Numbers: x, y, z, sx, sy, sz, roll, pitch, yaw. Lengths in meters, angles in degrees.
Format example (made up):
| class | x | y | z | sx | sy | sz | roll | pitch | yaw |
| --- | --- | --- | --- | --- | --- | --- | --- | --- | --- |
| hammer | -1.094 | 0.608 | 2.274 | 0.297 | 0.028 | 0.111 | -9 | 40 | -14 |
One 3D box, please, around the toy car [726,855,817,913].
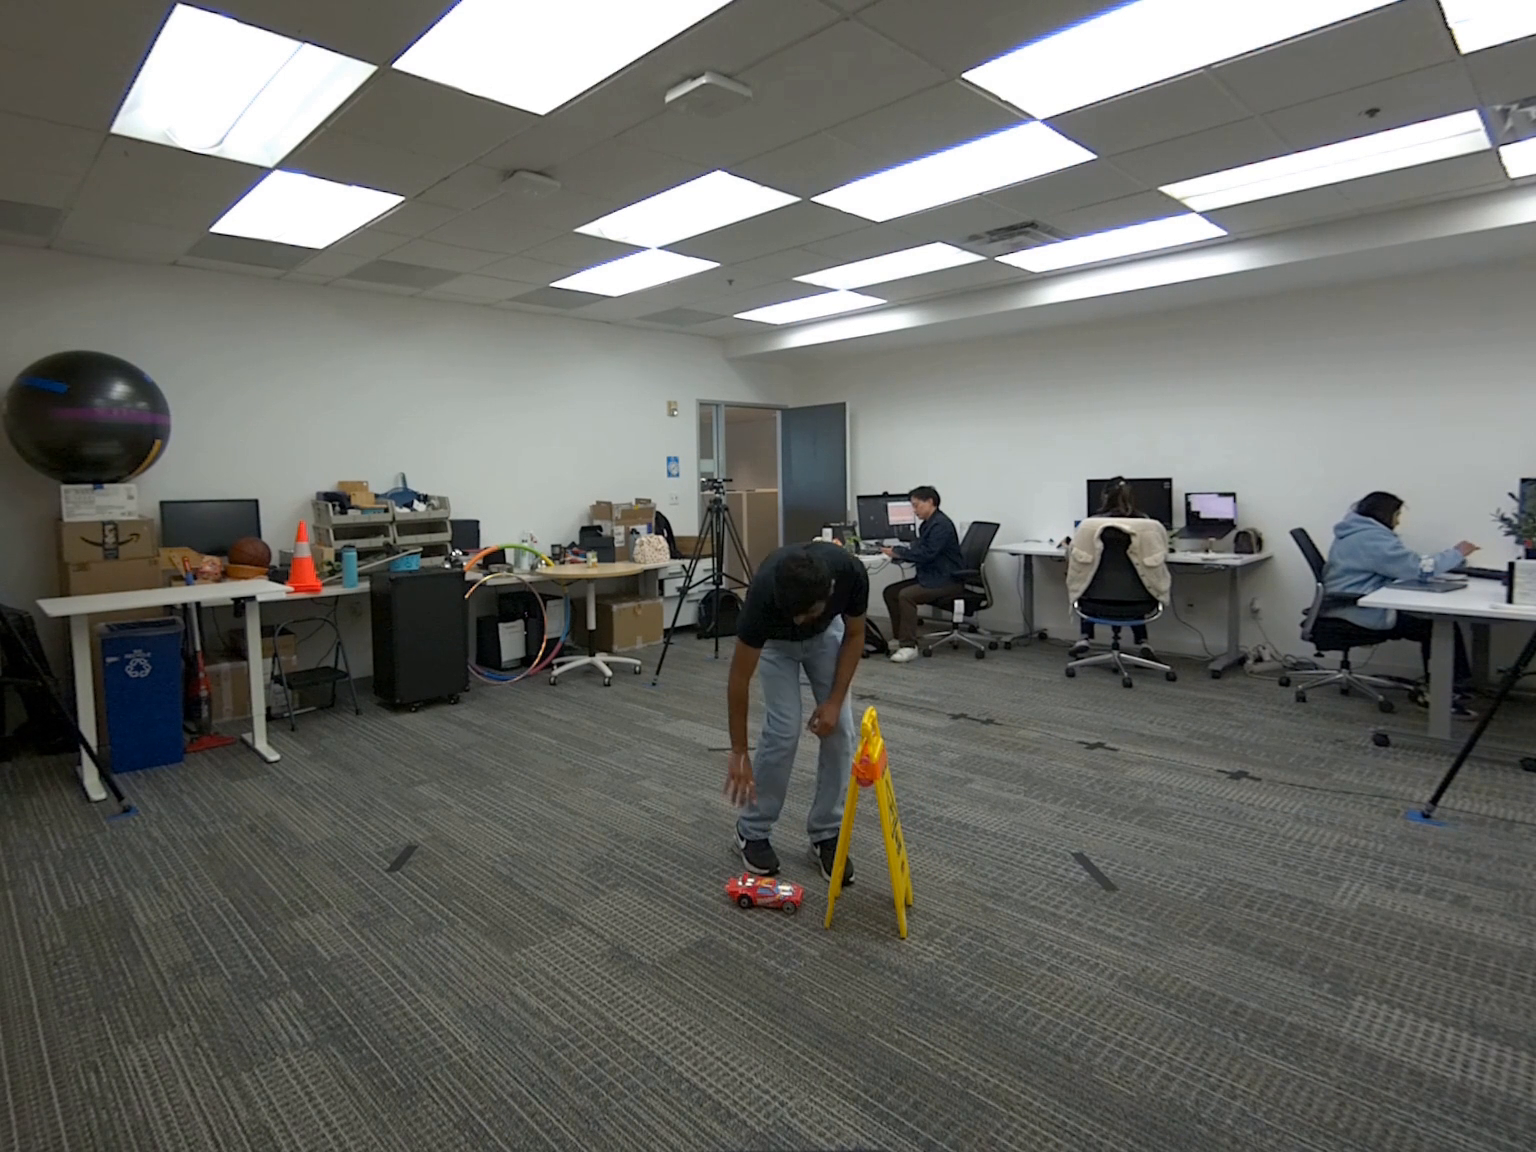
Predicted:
| class | x | y | z | sx | sy | sz | roll | pitch | yaw |
| --- | --- | --- | --- | --- | --- | --- | --- | --- | --- |
| toy car | -0.010 | 1.047 | 2.814 | 0.258 | 0.083 | 0.129 | 12 | 8 | 13 |
